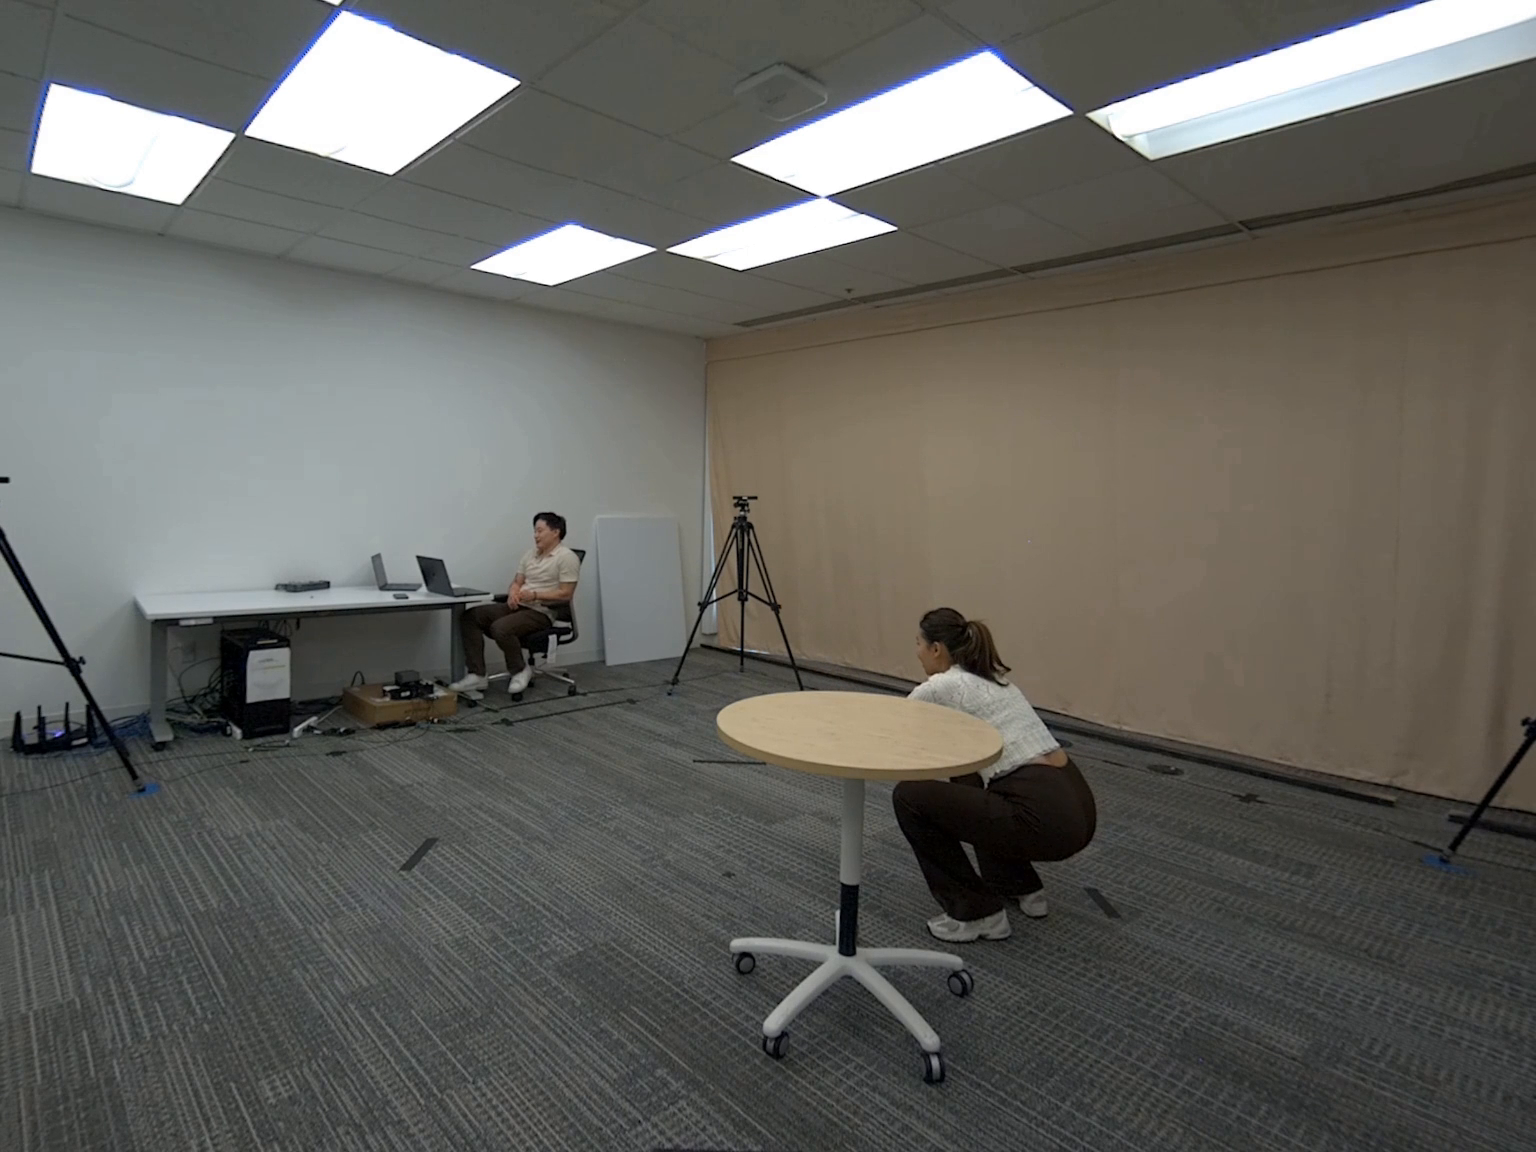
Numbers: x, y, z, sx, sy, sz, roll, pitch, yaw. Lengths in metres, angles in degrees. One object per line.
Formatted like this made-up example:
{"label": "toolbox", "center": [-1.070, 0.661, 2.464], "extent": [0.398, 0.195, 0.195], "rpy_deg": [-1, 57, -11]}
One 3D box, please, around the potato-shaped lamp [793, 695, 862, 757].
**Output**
{"label": "potato-shaped lamp", "center": [0.232, 0.582, 3.320], "extent": [0.161, 0.198, 0.175], "rpy_deg": [-7, -2, -43]}
